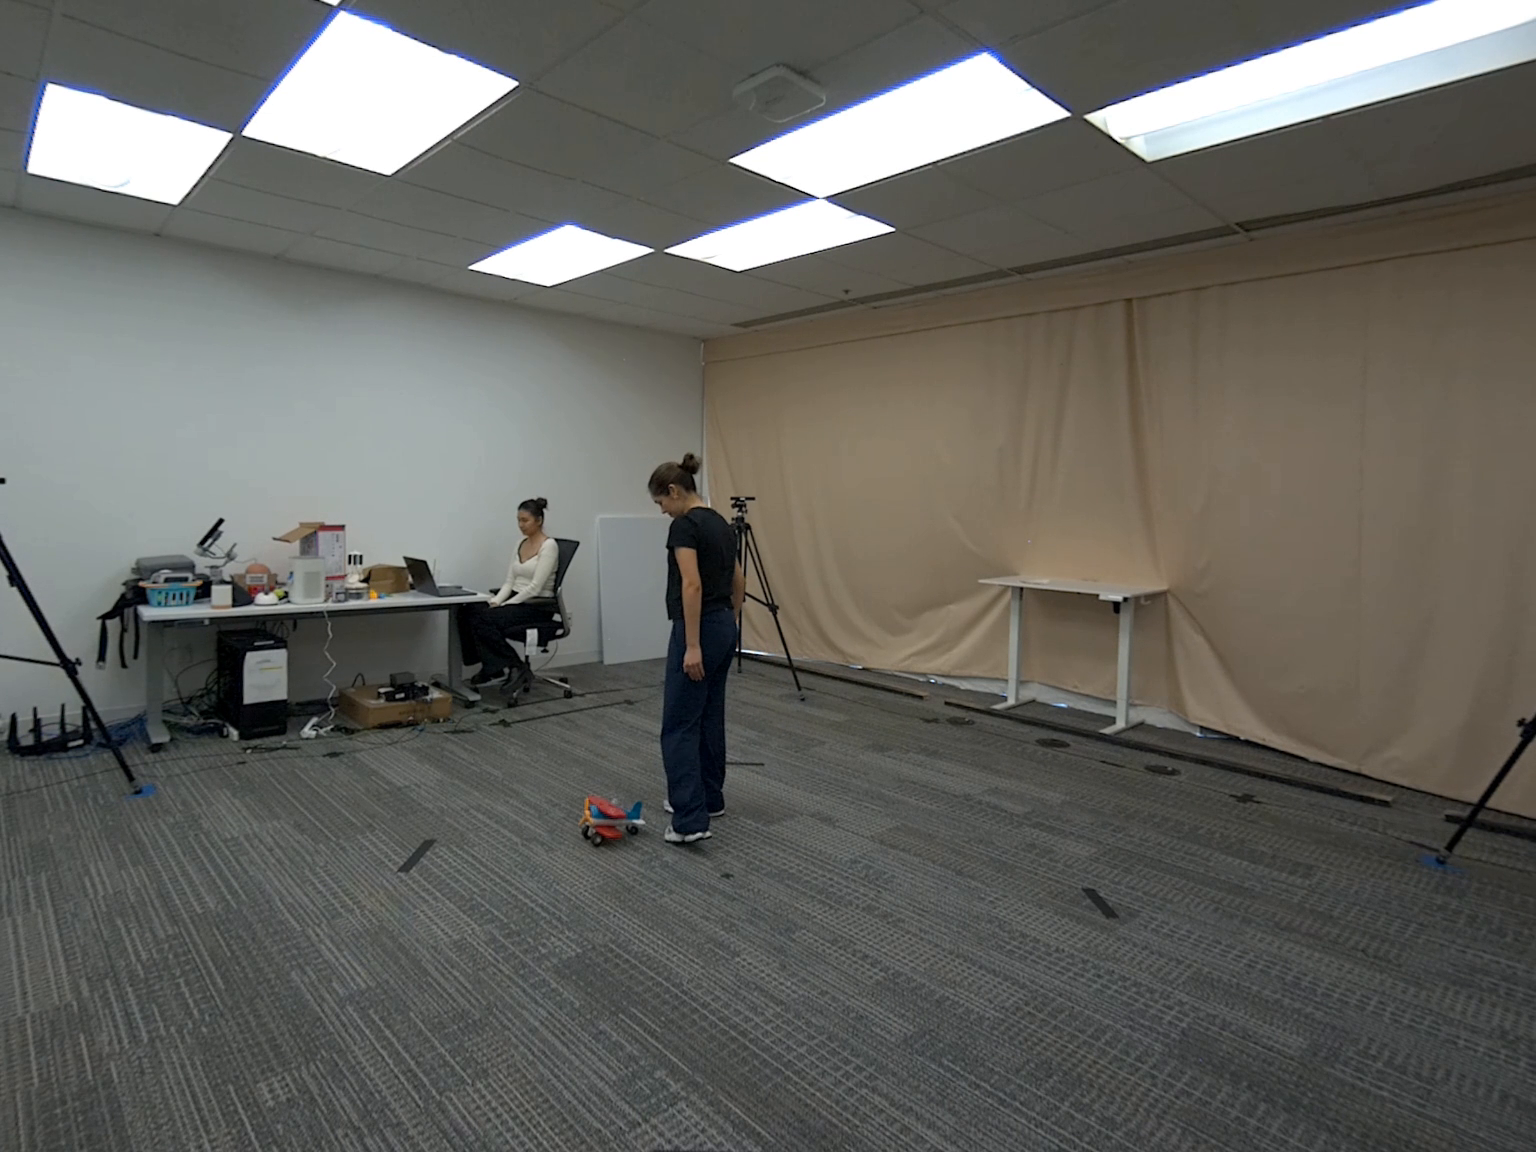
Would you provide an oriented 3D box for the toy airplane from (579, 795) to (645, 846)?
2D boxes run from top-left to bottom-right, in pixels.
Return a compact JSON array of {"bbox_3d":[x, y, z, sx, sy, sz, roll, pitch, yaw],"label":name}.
[{"bbox_3d":[-0.647,0.986,3.425,0.256,0.156,0.255,5,7,26],"label":"toy airplane"}]
